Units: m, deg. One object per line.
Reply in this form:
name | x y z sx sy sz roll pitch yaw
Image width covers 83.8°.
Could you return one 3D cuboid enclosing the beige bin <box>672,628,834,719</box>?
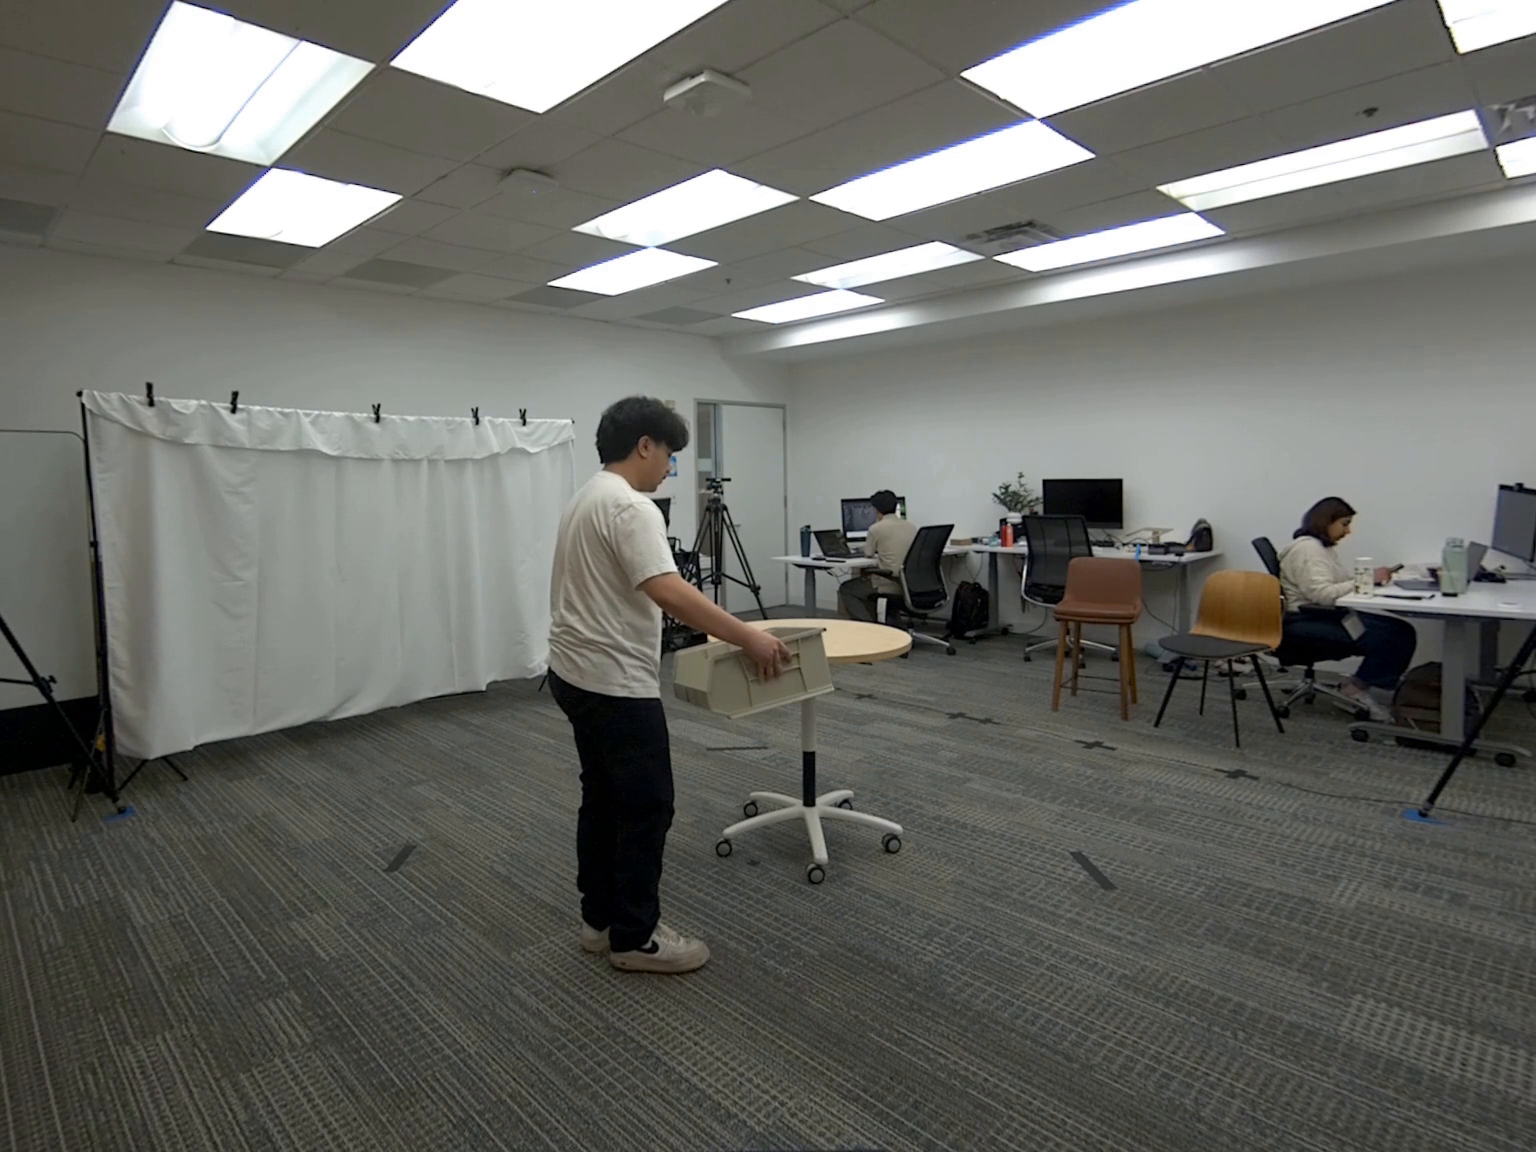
beige bin | -0.065 0.272 2.532 0.372 0.189 0.428 -9 0 -19
